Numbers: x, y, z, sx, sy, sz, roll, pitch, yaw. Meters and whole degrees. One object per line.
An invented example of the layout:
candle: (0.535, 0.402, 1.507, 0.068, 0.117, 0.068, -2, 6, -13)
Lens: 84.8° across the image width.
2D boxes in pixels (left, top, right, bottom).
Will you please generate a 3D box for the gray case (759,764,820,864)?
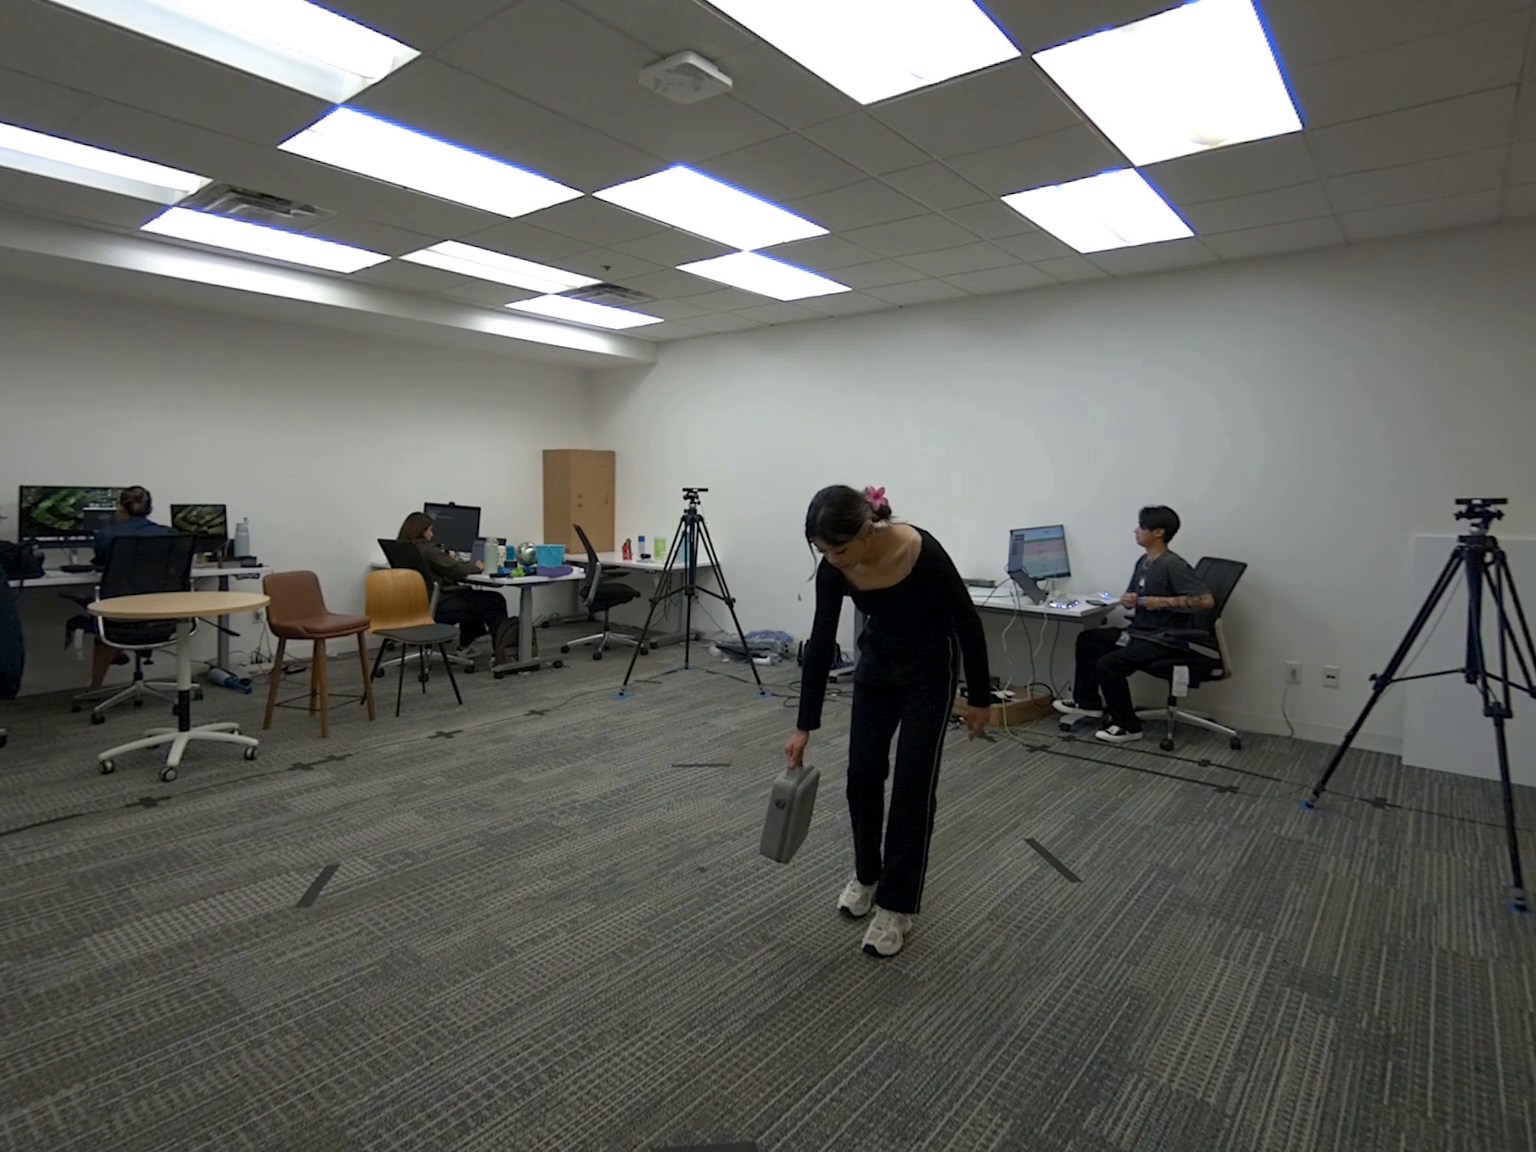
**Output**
gray case: (0.066, 0.734, 2.690, 0.106, 0.260, 0.252, 8, 4, 17)
